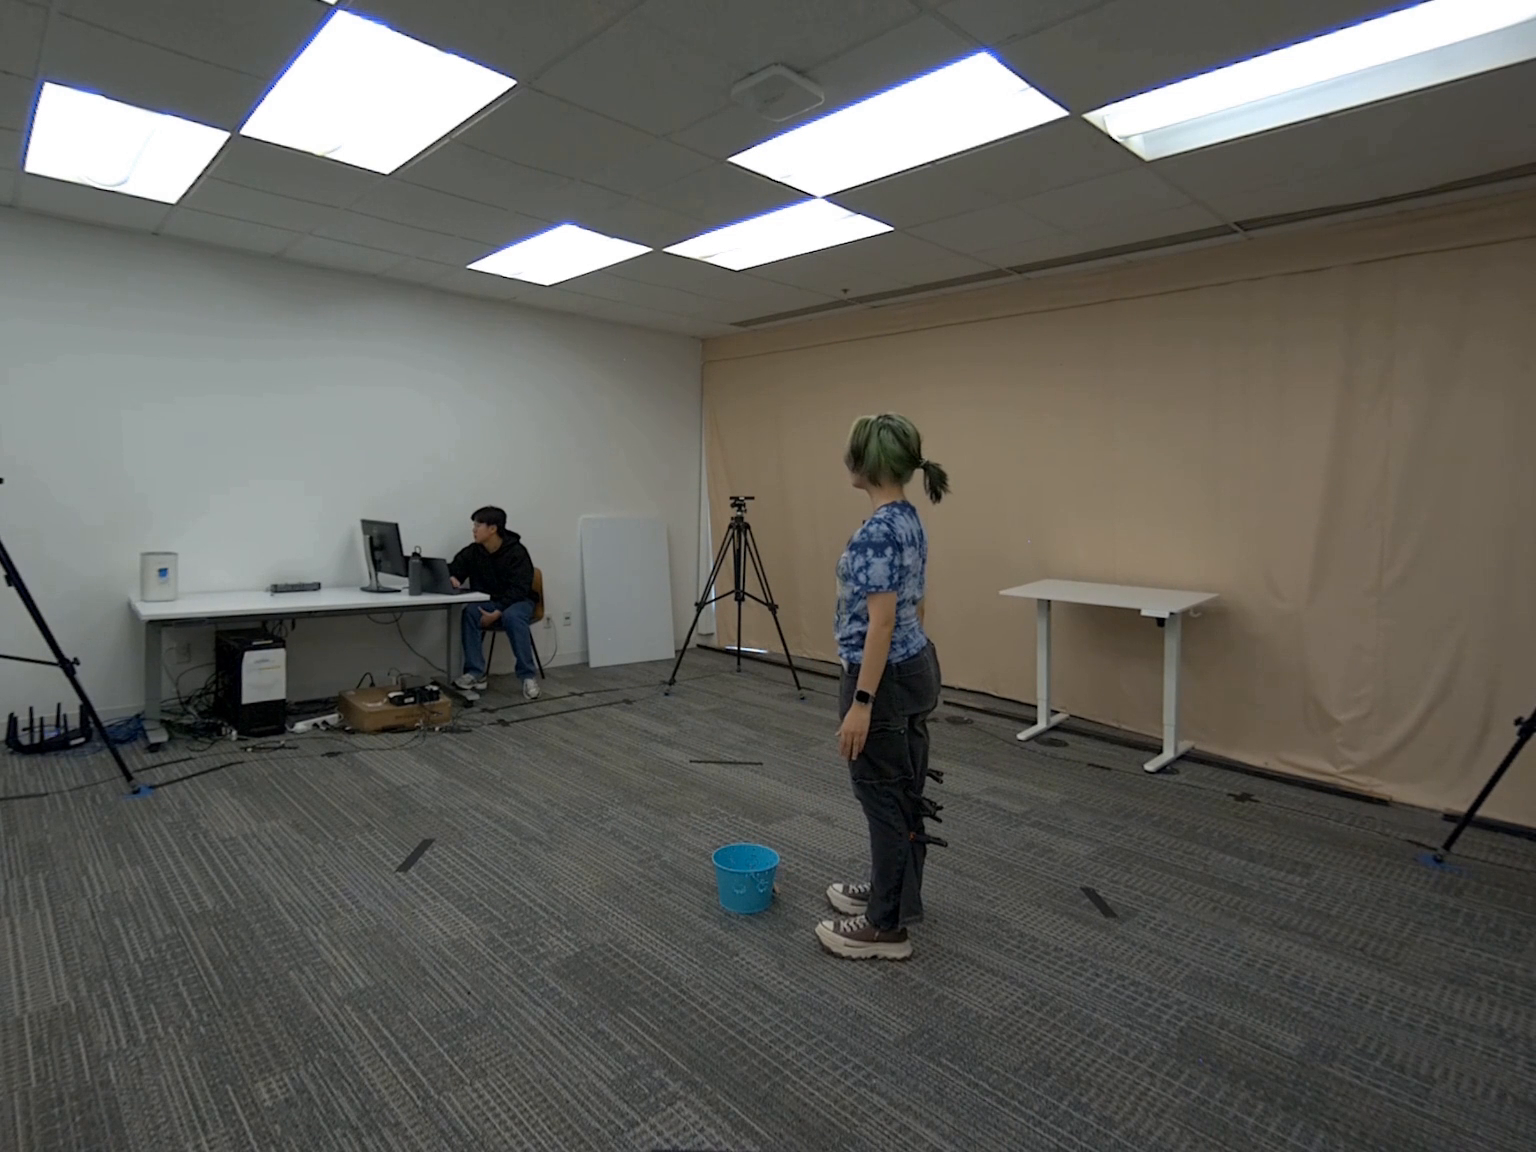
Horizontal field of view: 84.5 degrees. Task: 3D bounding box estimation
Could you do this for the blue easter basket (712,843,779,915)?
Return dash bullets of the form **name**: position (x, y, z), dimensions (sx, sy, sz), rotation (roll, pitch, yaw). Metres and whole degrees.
- **blue easter basket**: position (-0.080, 1.046, 2.905), dimensions (0.243, 0.155, 0.244), rotation (2, 4, -1)
